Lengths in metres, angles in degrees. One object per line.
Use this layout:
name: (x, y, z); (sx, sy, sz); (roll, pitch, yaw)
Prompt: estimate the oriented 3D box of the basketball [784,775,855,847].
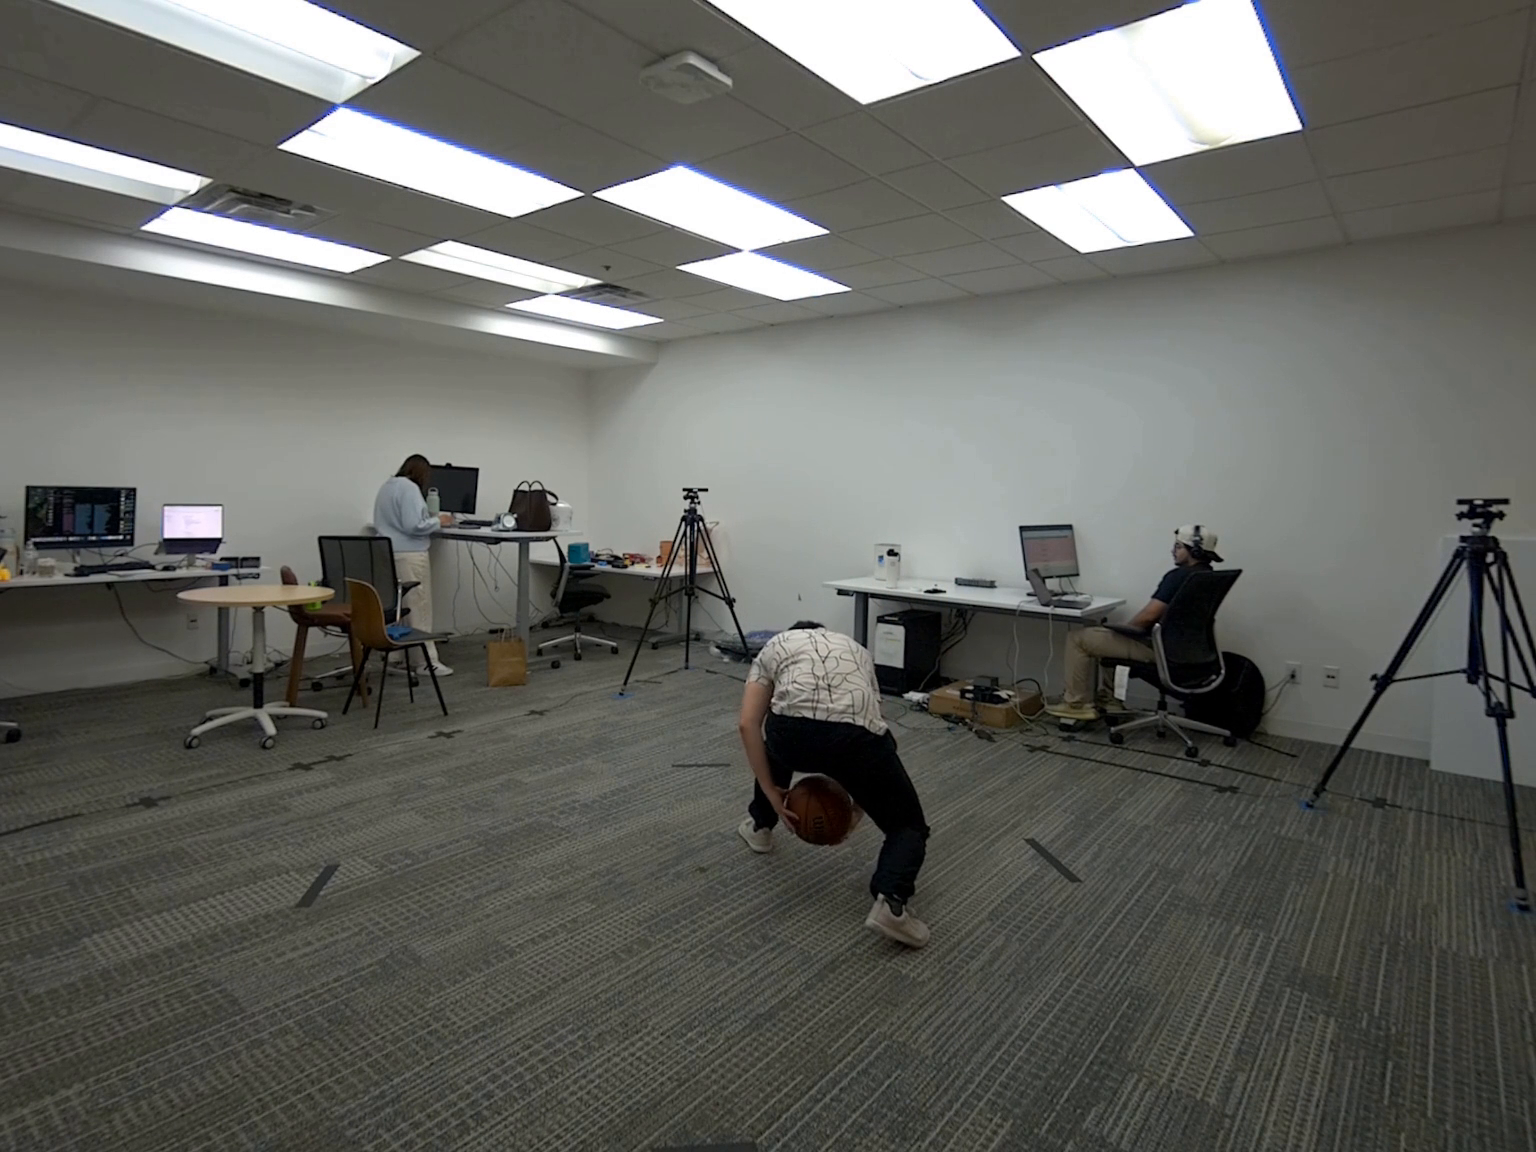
basketball: (0.173, 0.820, 3.055); (0.235, 0.235, 0.237); (1, 4, -2)
